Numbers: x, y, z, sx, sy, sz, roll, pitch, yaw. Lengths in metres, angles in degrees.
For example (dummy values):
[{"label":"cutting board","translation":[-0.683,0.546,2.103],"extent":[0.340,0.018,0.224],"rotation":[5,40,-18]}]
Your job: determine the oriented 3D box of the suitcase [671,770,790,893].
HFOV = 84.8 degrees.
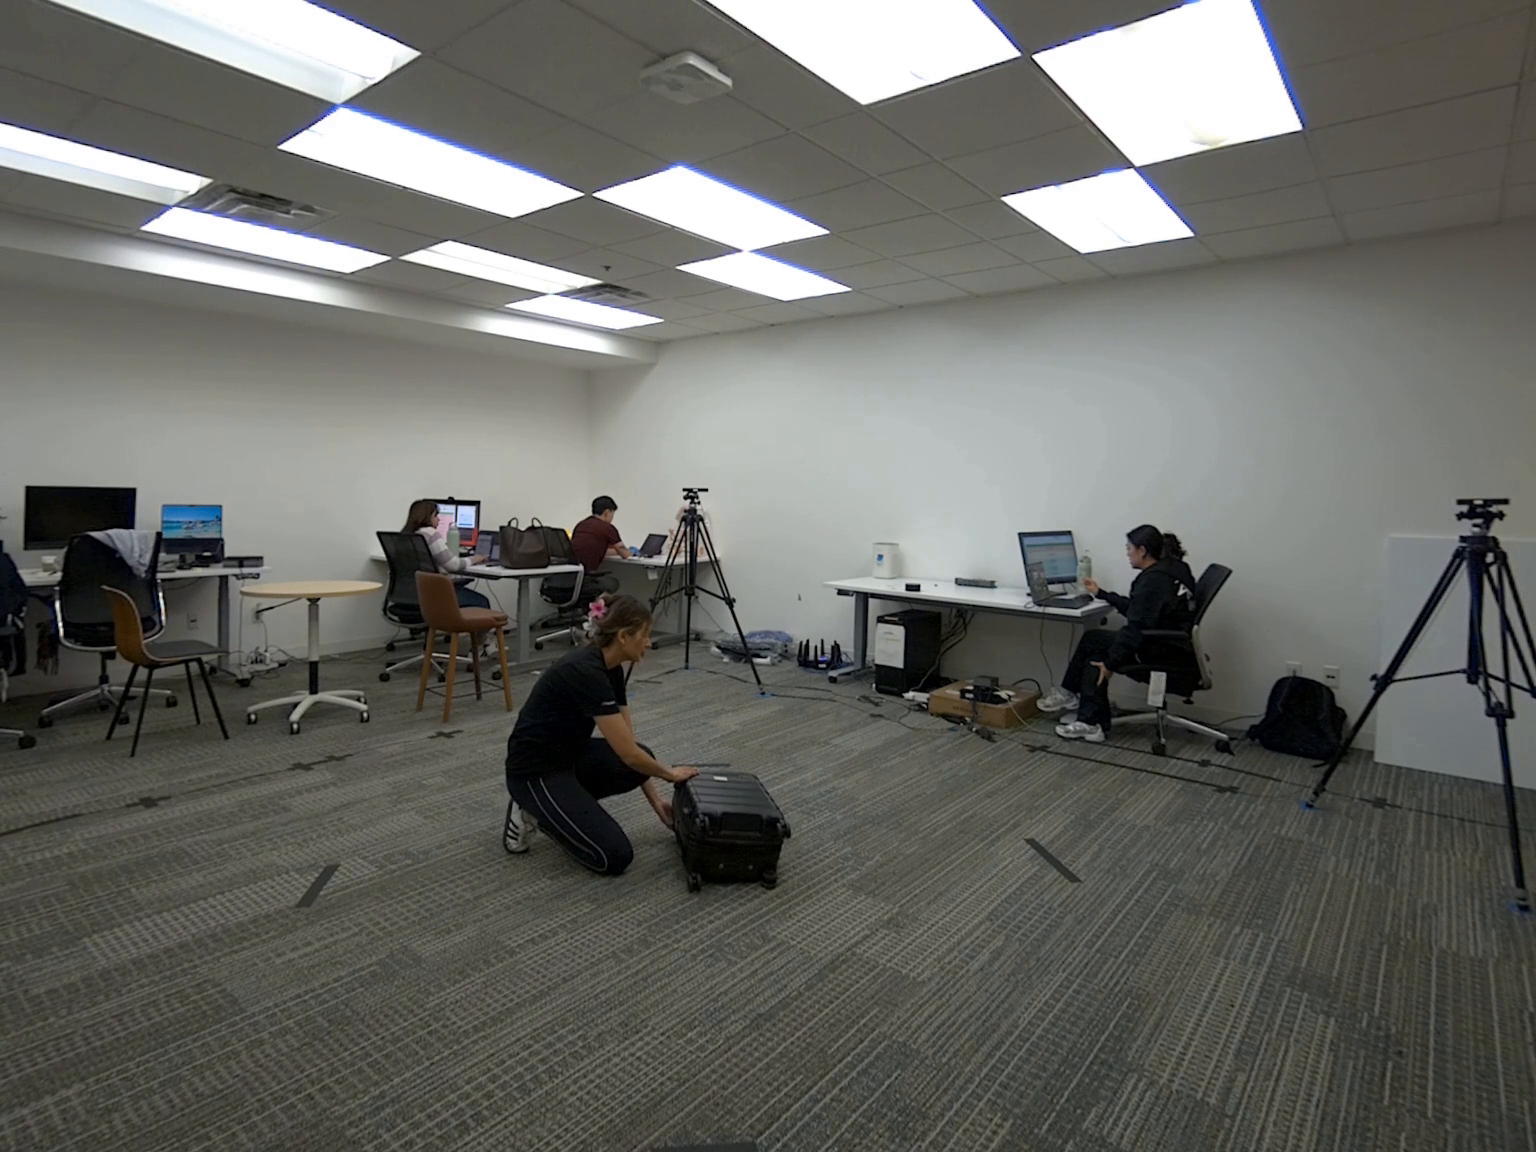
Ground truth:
[{"label":"suitcase","translation":[-0.221,0.897,3.402],"extent":[0.378,0.256,0.998],"rotation":[6,6,-14]}]
